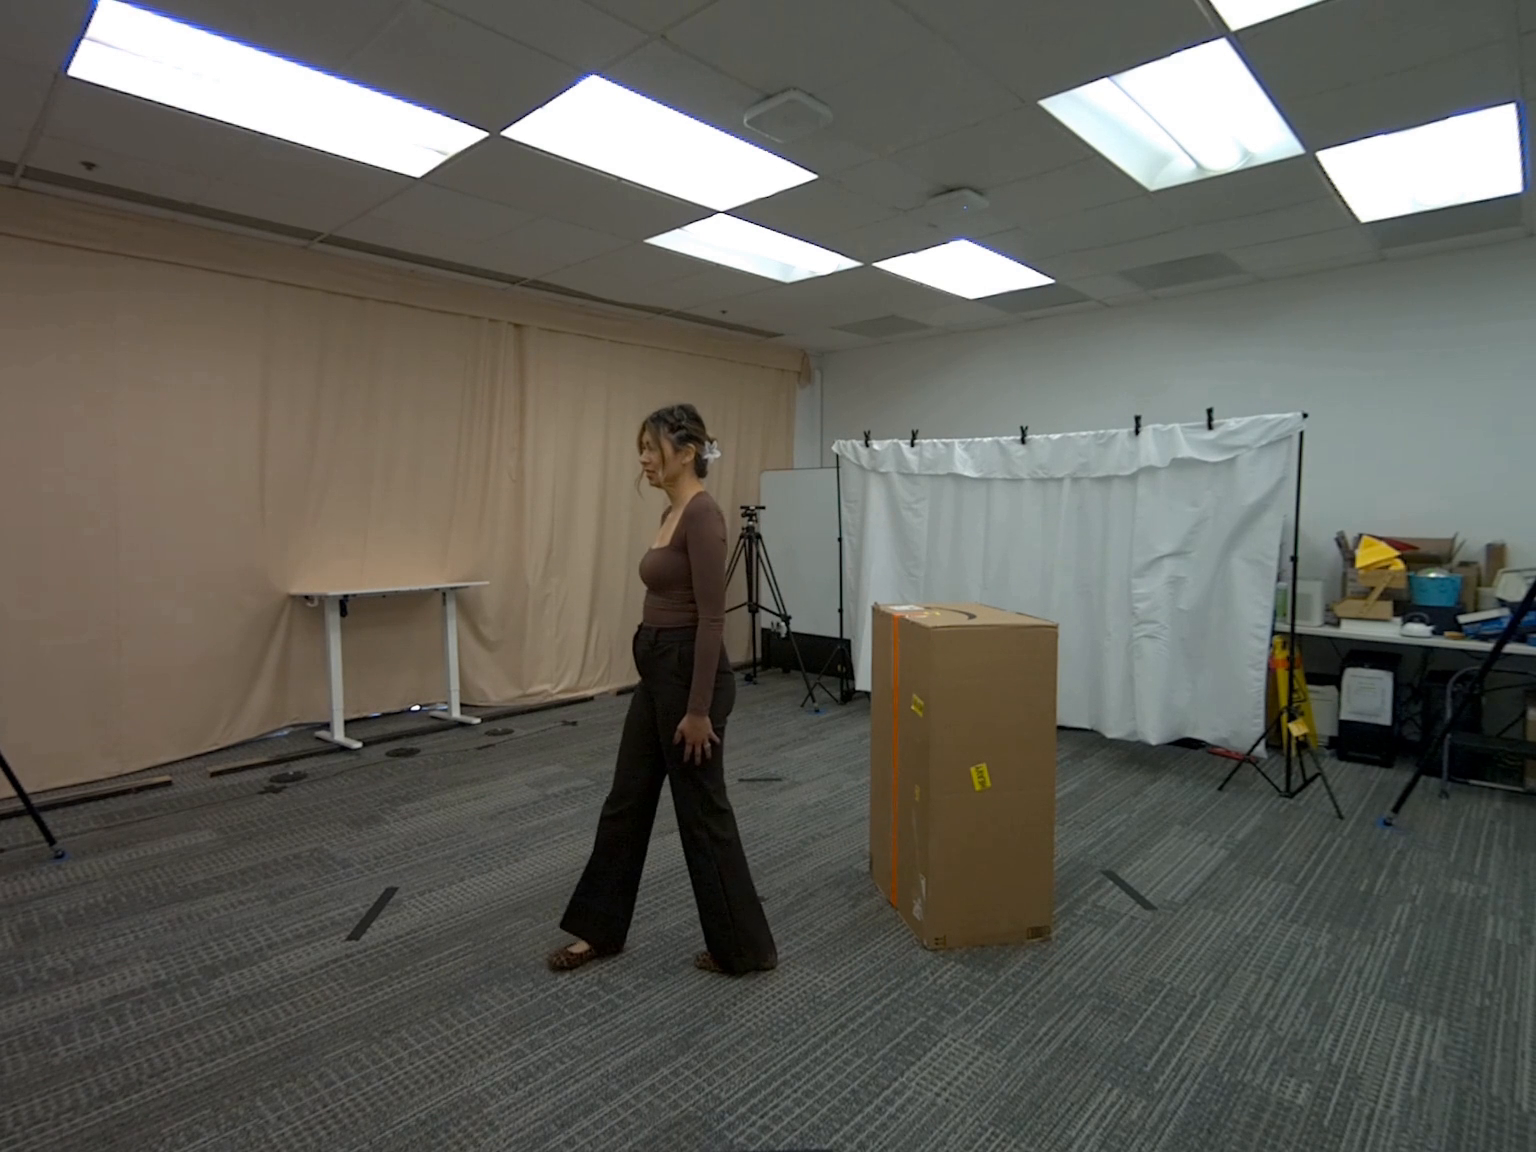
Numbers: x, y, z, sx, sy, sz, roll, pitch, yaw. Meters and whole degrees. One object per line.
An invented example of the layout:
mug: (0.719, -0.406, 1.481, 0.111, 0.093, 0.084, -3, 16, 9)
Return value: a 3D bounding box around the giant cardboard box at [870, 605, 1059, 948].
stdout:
giant cardboard box: (0.658, 0.633, 2.914, 0.442, 1.025, 0.591, -1, 3, -11)
